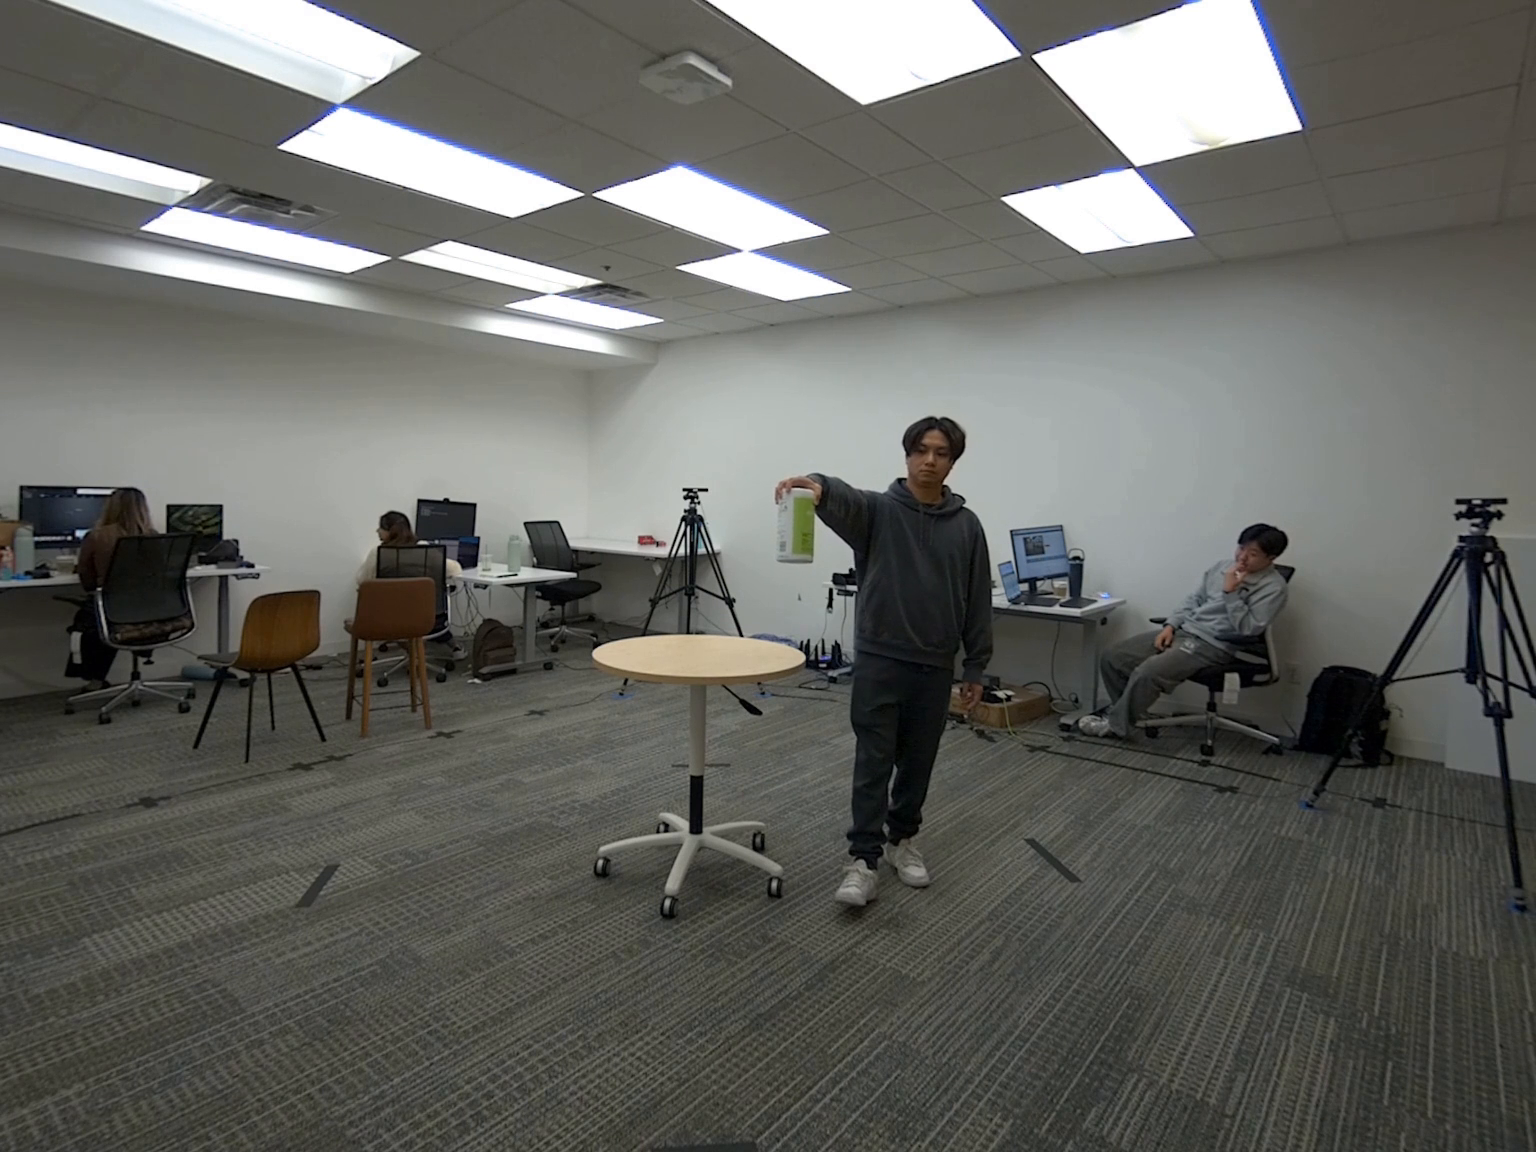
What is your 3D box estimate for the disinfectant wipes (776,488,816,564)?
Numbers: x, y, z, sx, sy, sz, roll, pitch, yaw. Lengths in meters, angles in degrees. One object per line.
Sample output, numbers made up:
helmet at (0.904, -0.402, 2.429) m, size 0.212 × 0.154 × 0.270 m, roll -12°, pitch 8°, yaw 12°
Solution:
disinfectant wipes at (0.073, -0.150, 2.520) m, size 0.118 × 0.218 × 0.117 m, roll 2°, pitch -5°, yaw -2°
